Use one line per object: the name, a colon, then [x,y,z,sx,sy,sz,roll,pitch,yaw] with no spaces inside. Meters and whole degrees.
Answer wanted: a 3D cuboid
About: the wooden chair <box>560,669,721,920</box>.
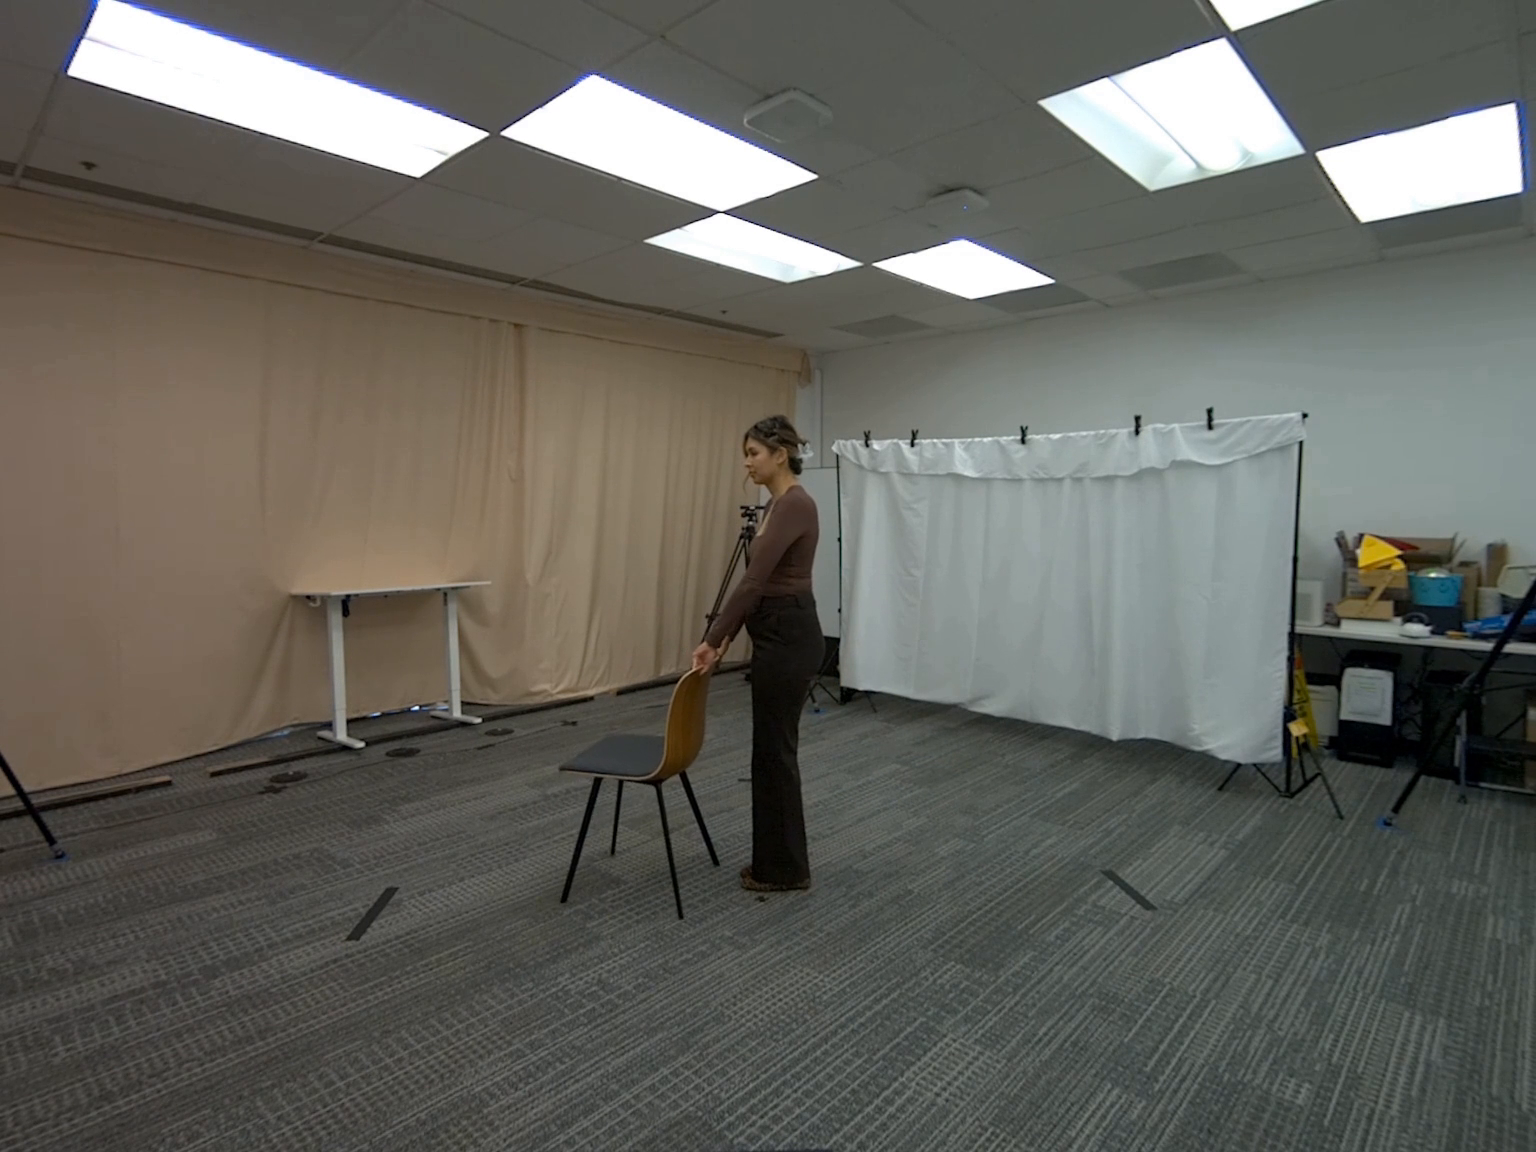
wooden chair: [-0.469,0.714,3.077,0.532,0.875,0.471,5,5,14]
